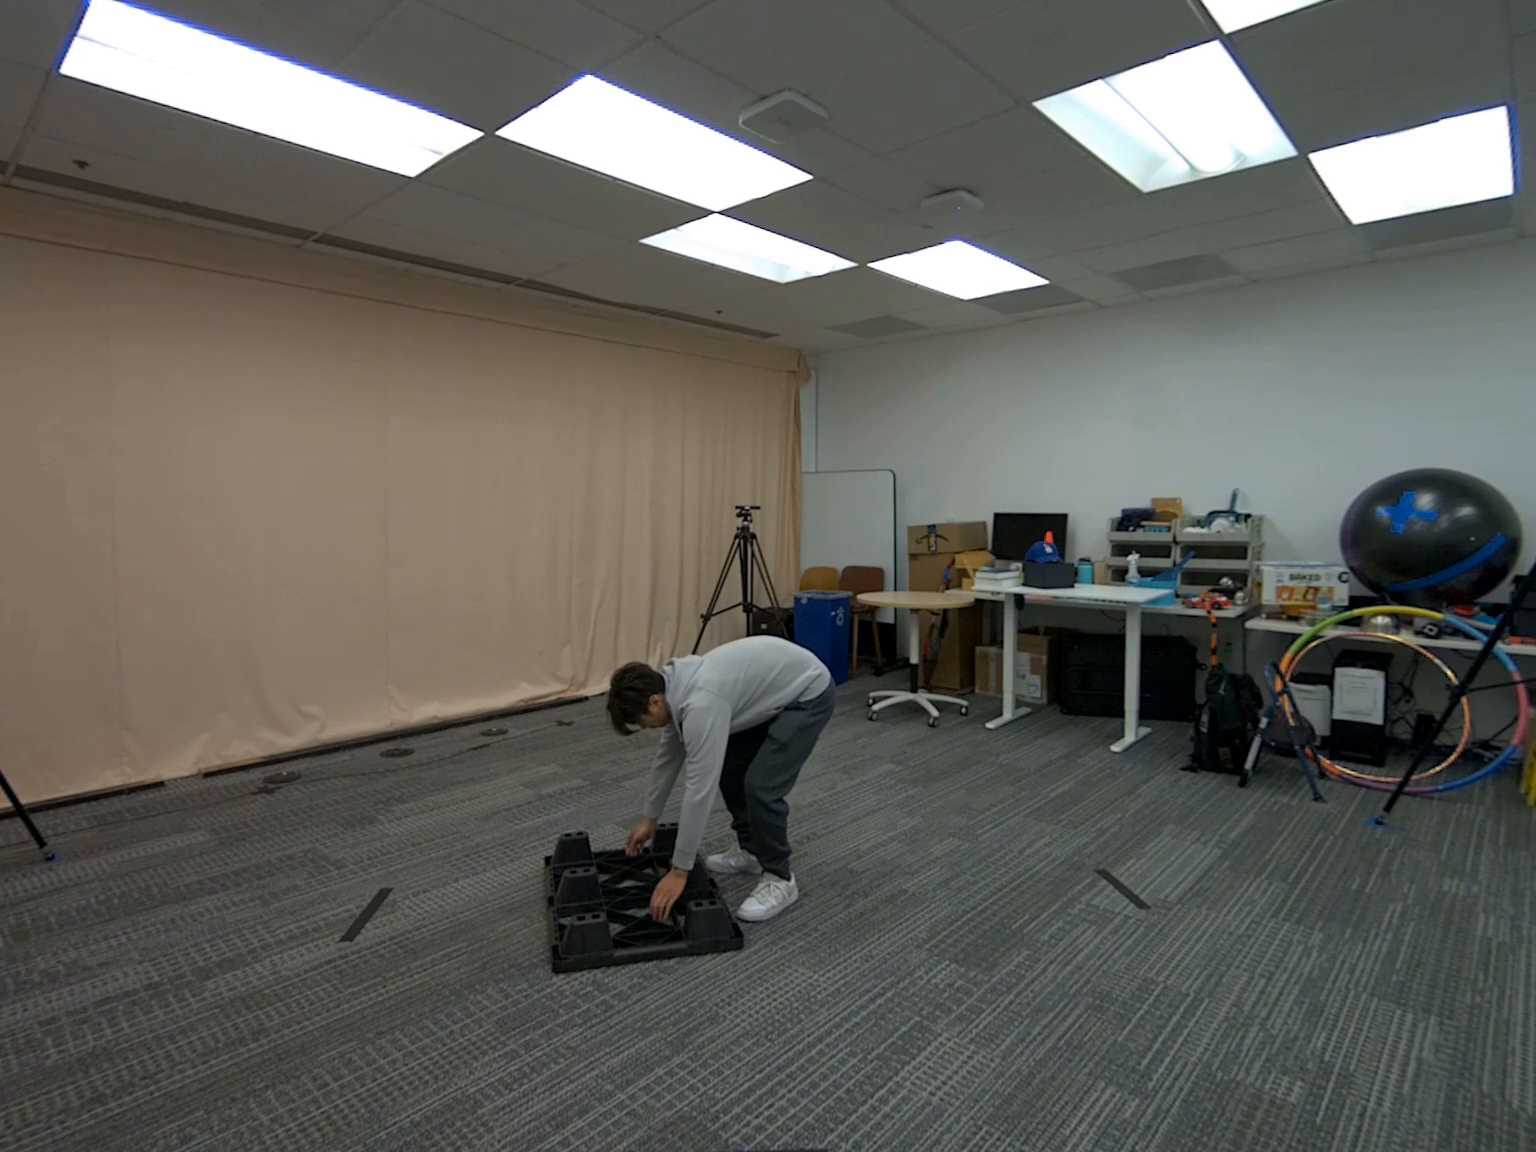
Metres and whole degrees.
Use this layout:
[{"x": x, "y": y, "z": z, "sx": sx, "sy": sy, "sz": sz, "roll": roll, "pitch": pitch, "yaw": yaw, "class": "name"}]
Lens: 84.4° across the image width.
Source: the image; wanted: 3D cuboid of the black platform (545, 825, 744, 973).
[{"x": -0.469, "y": 1.081, "z": 2.953, "sx": 0.596, "sy": 0.143, "sz": 0.820, "roll": -2, "pitch": 5, "yaw": -16, "class": "black platform"}]
